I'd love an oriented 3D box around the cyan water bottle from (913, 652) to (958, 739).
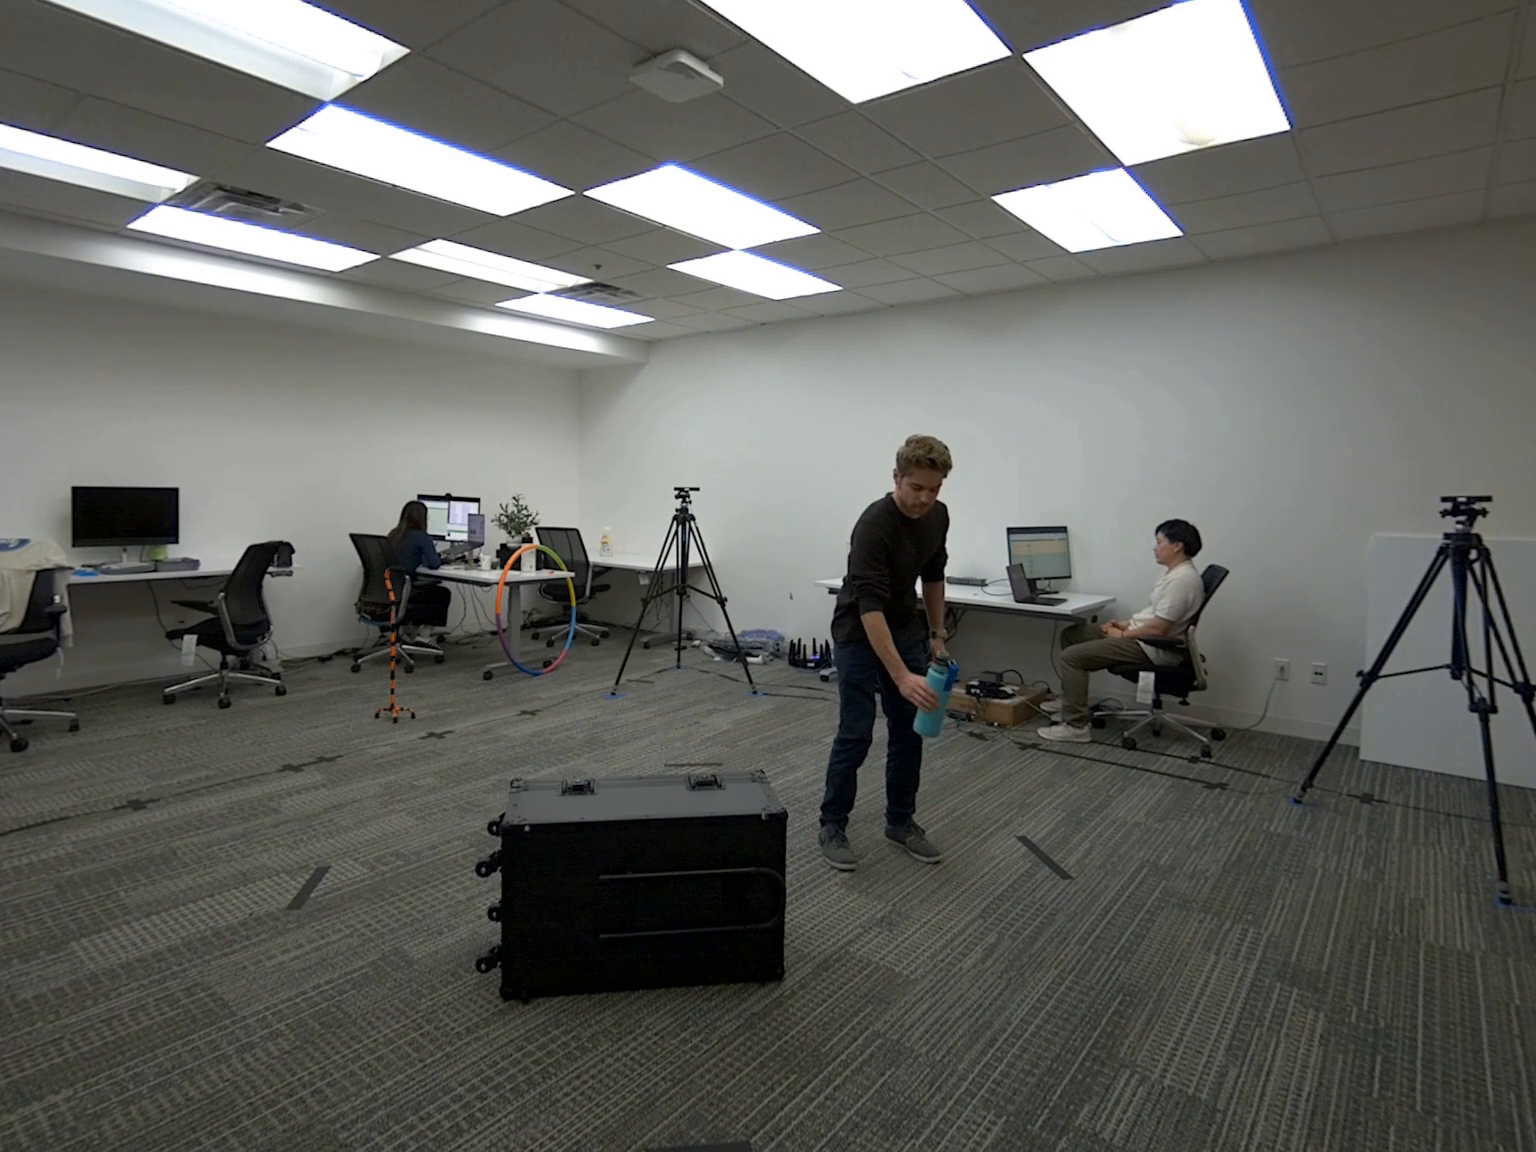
[{"bbox_3d":[0.559,0.391,2.834,0.092,0.280,0.094,10,17,-5],"label":"cyan water bottle"}]
